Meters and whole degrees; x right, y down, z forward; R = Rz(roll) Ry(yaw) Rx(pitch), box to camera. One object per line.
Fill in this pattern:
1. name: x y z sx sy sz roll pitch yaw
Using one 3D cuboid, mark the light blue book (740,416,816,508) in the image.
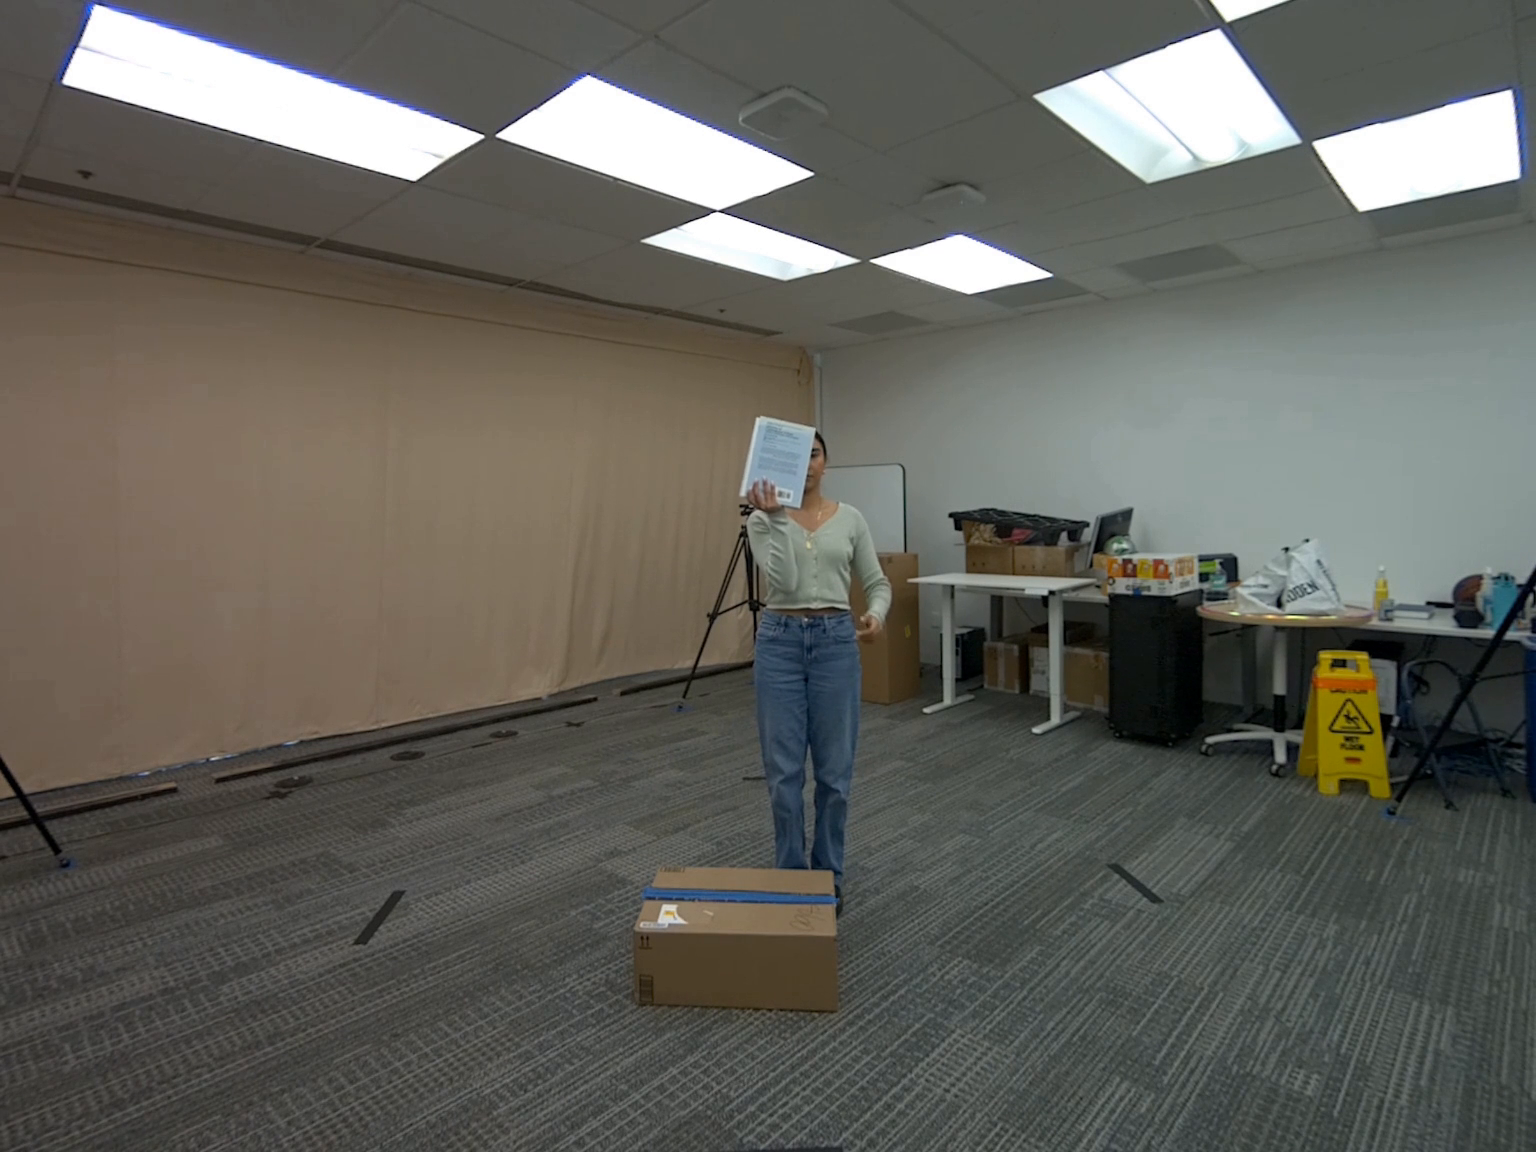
1. light blue book: 0.032 -0.362 2.694 0.191 0.261 0.059 12 0 -3
